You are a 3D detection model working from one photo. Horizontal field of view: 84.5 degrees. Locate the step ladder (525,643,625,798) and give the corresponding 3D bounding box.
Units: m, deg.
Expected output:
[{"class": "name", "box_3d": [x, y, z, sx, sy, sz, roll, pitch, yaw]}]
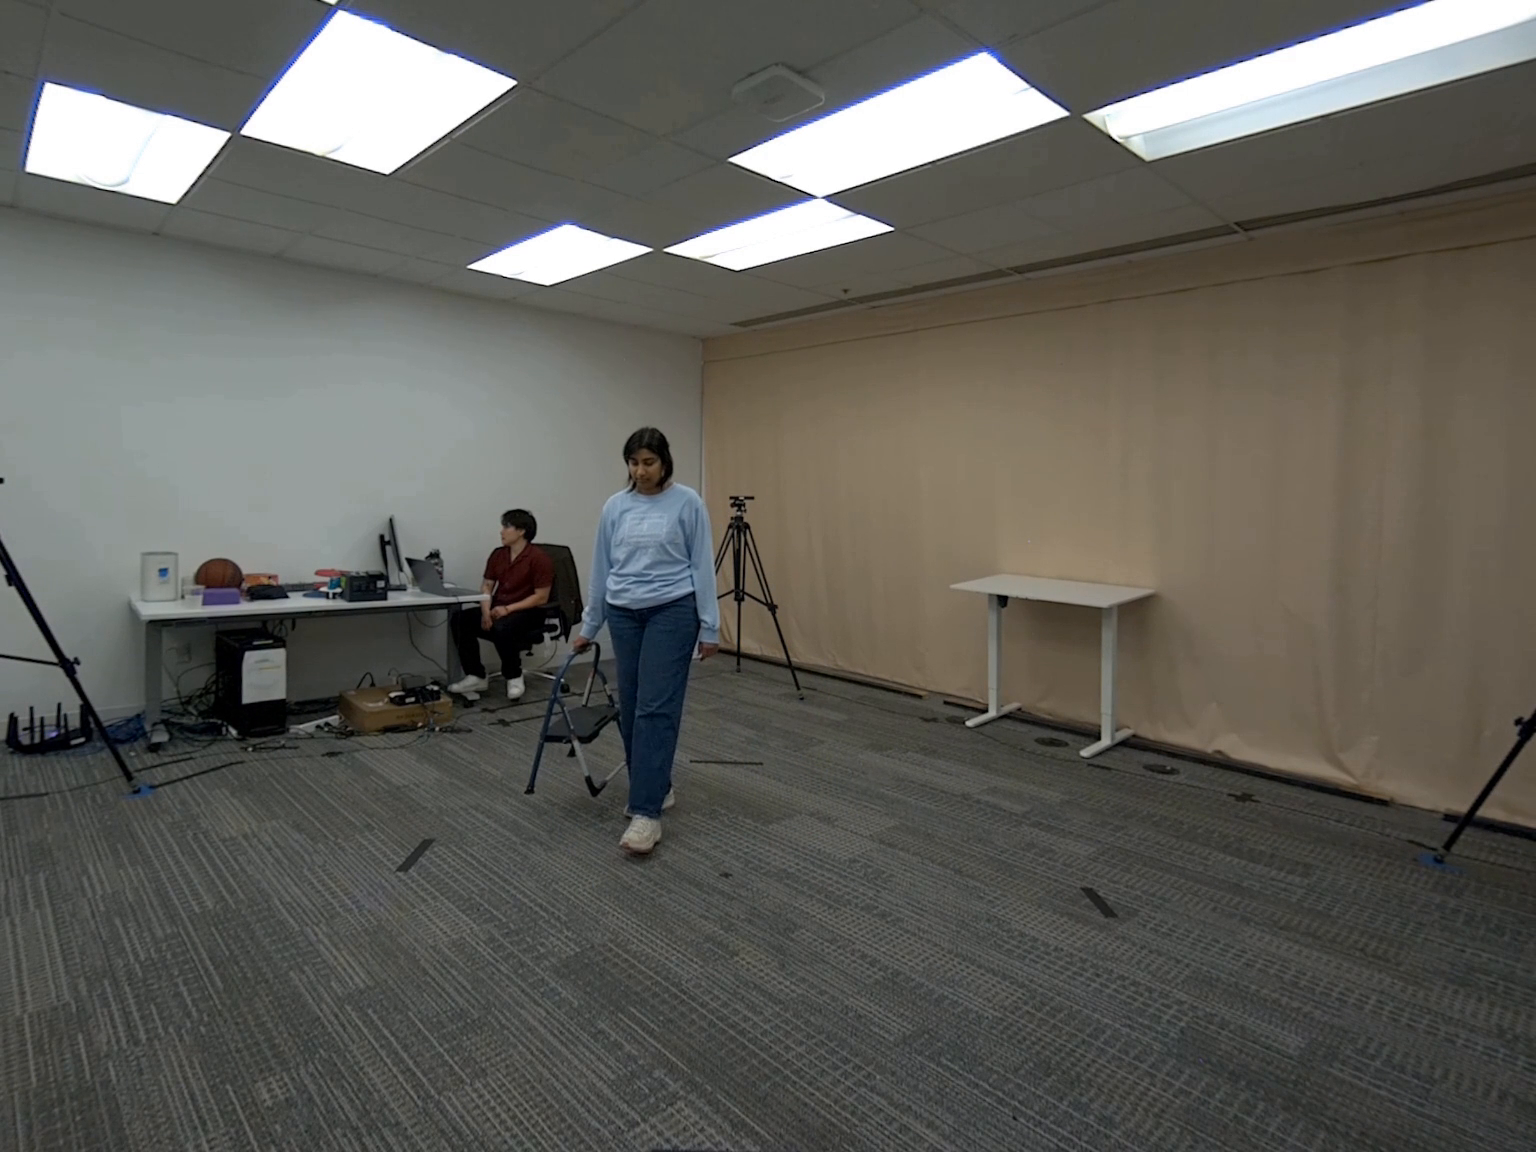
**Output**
[{"class": "step ladder", "box_3d": [-0.874, 0.607, 3.766, 0.353, 0.602, 0.428, -1, 10, 15]}]
